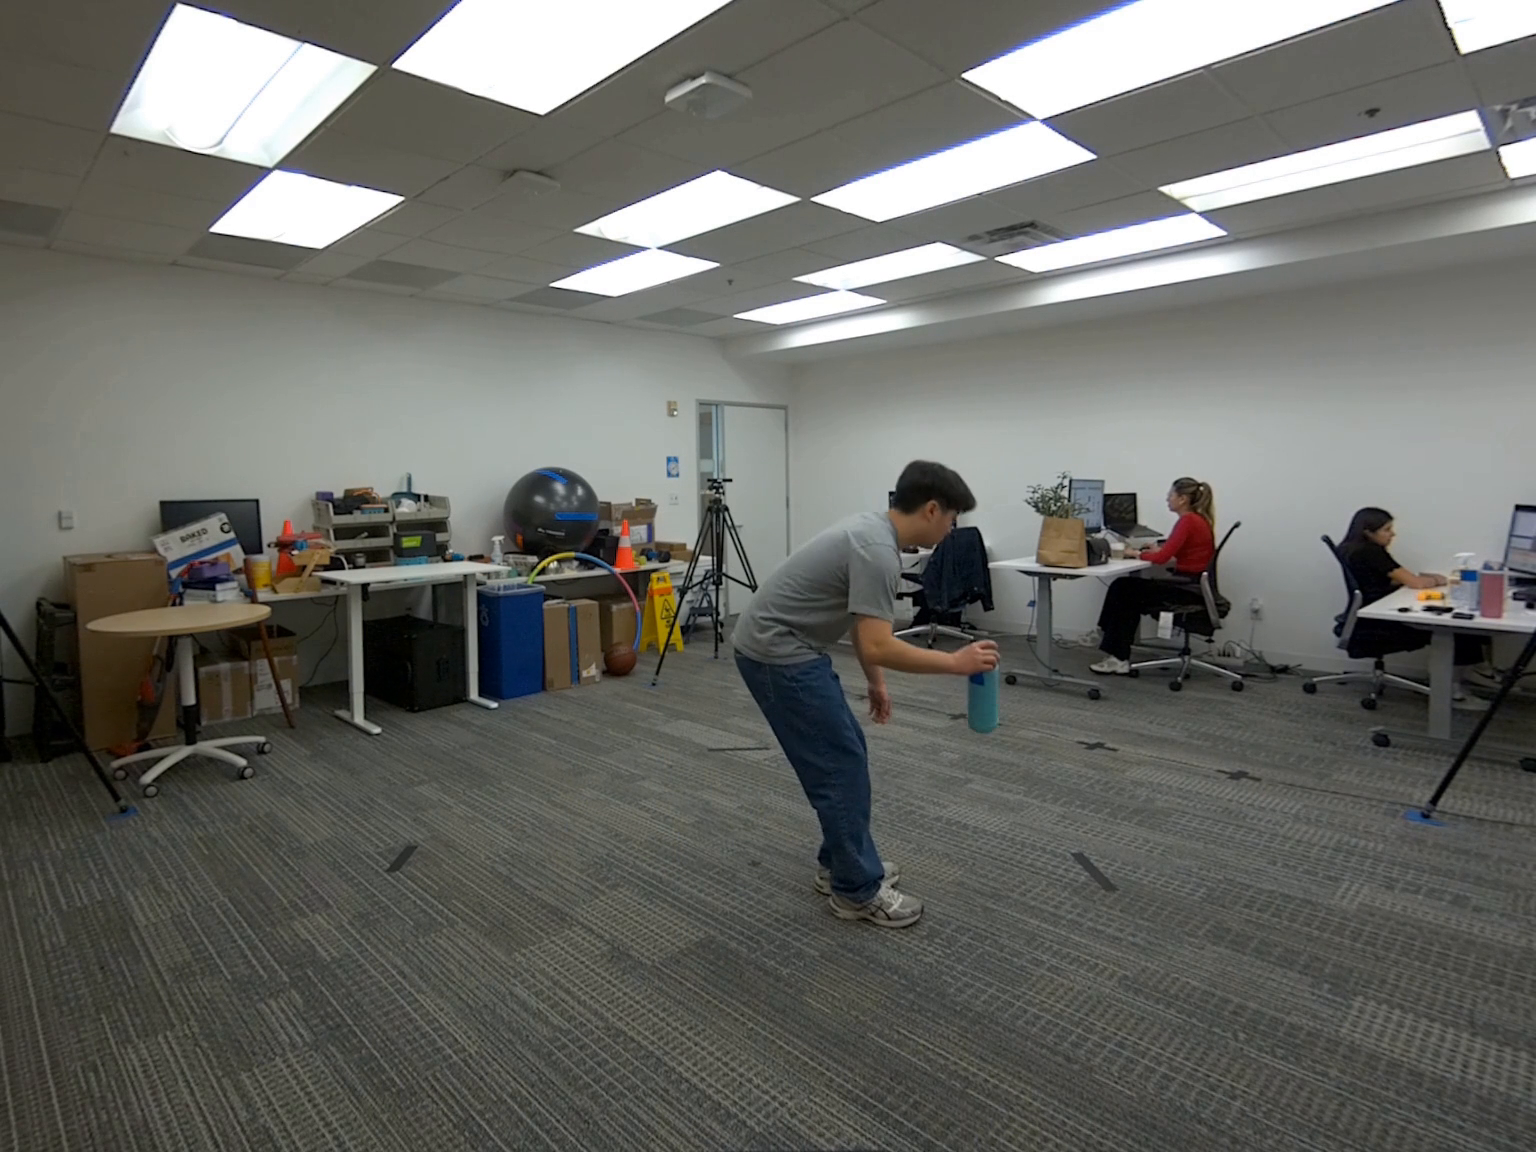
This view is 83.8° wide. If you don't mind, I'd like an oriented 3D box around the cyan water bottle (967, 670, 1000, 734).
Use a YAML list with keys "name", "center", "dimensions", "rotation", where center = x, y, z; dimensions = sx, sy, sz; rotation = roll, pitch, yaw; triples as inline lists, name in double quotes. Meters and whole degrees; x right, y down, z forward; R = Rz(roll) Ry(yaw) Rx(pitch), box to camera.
- name: "cyan water bottle"
  center: [0.645, 0.340, 2.591]
  dimensions: [0.092, 0.277, 0.094]
  rotation: [-6, 22, 1]
